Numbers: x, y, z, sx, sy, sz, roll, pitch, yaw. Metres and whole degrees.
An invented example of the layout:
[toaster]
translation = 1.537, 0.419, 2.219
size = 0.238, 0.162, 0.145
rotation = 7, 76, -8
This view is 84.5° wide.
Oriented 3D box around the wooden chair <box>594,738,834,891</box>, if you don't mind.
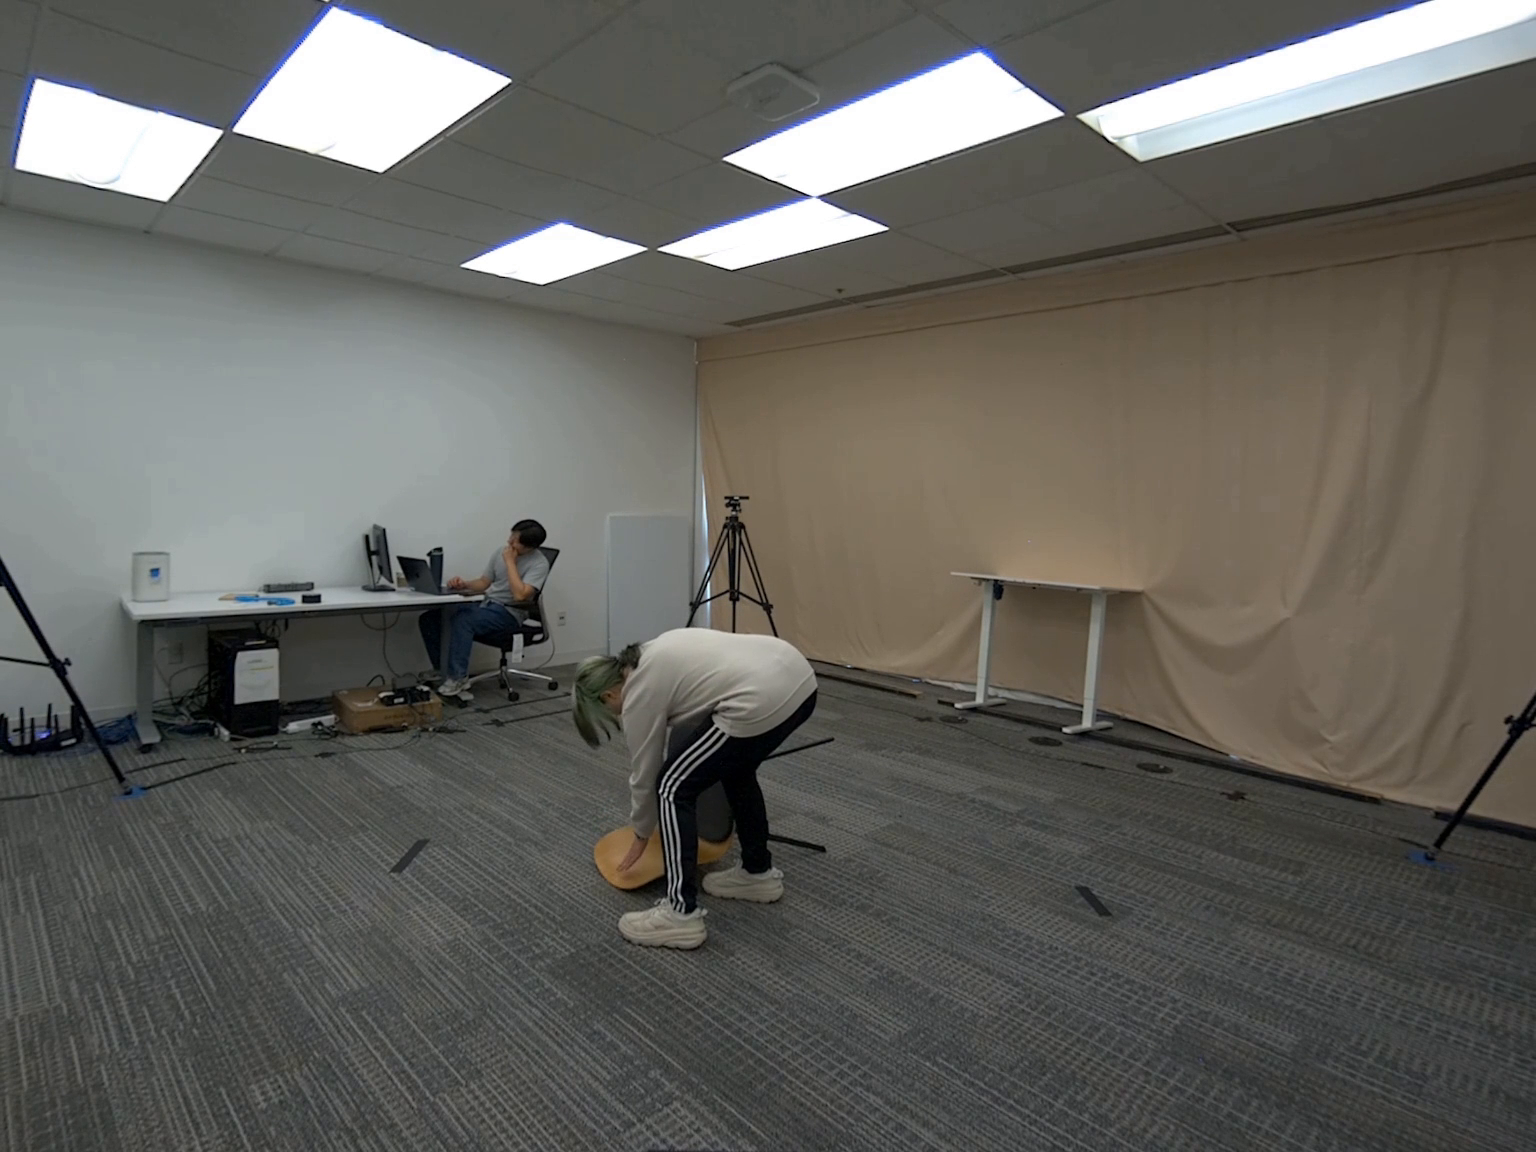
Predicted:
[wooden chair]
translation = -0.233, 0.832, 3.267
size = 0.858, 0.522, 0.490
rotation = -3, 5, -37
